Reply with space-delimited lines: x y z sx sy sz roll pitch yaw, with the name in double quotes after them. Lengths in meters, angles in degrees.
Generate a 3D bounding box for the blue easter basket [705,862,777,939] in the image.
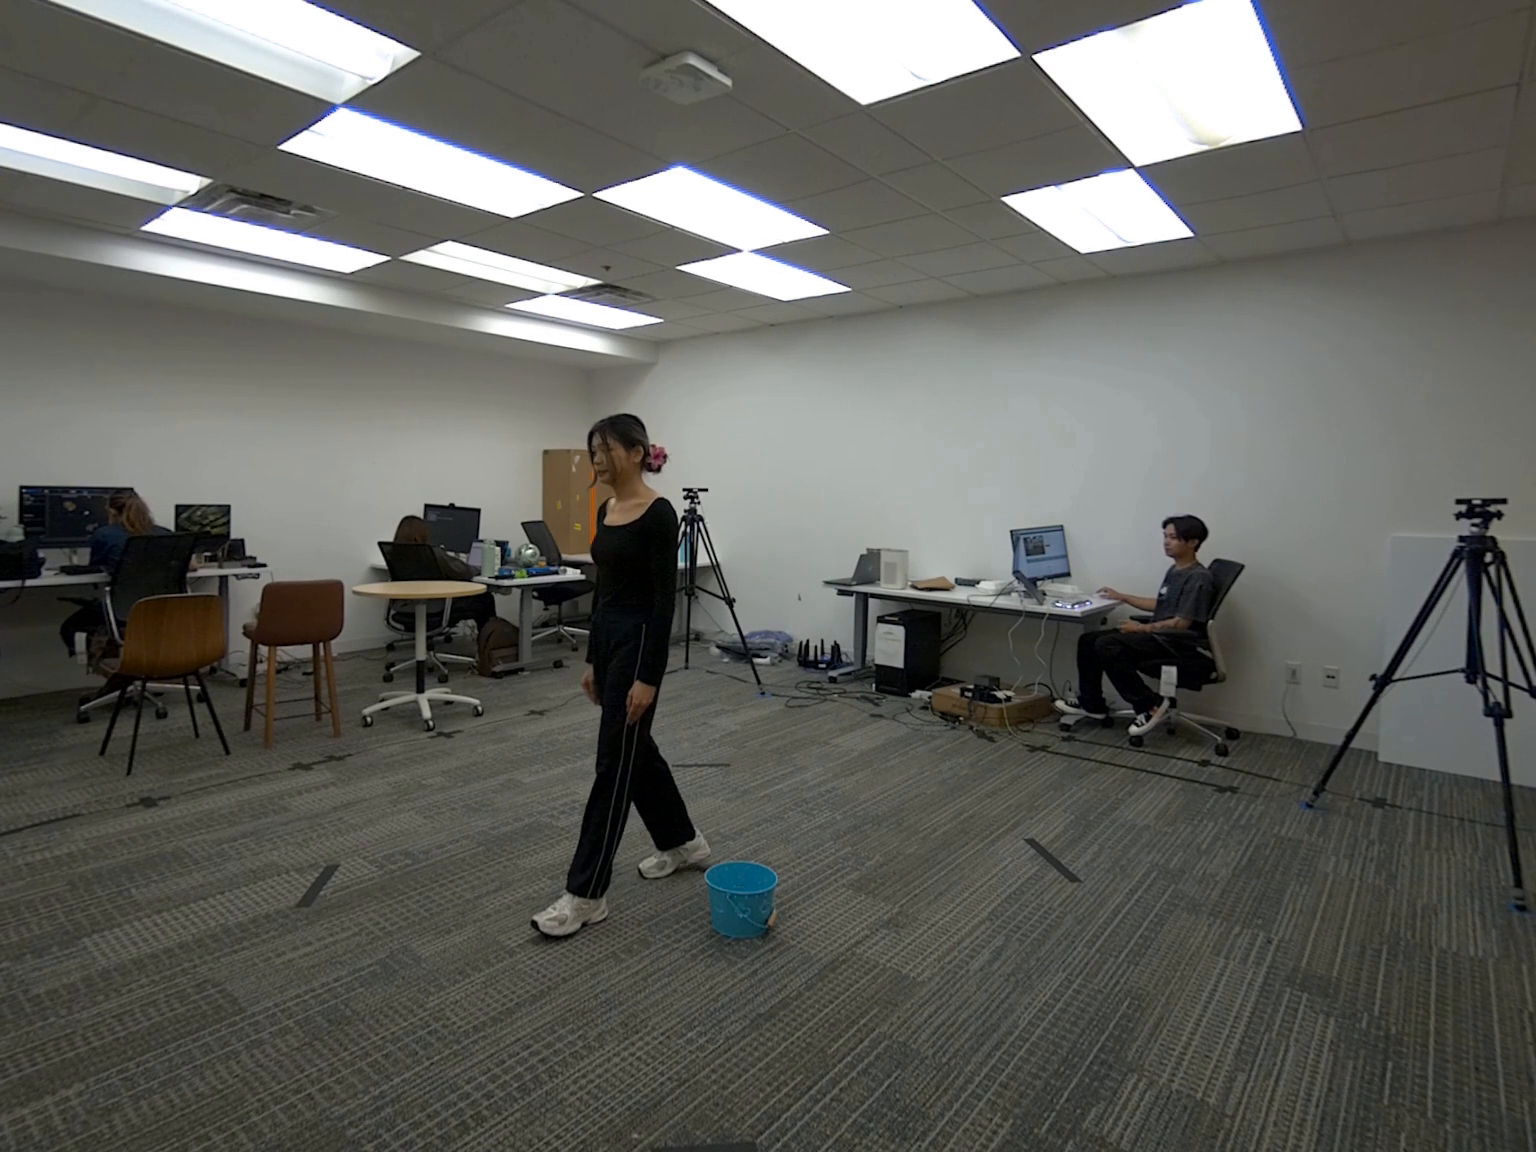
-0.092 1.033 2.720 0.243 0.155 0.245 1 5 -2 "blue easter basket"
